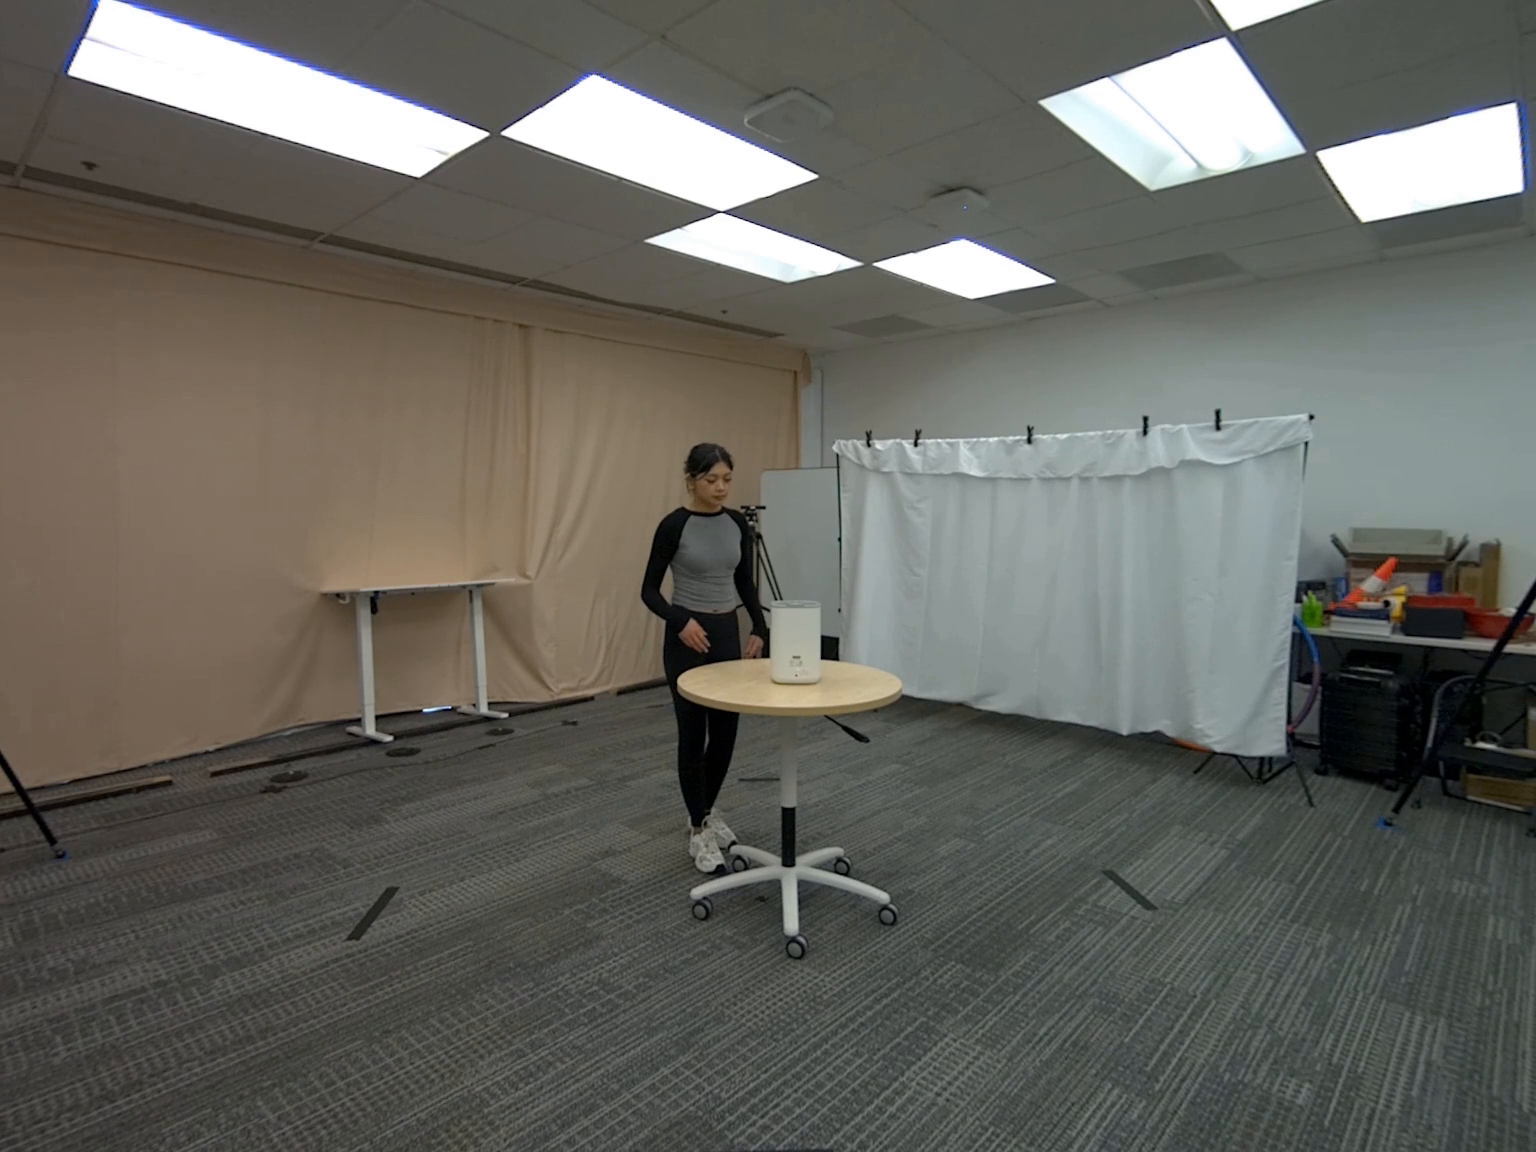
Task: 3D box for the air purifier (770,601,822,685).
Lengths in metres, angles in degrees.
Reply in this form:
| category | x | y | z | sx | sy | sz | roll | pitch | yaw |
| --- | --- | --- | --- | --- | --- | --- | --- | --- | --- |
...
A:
| category | x | y | z | sx | sy | sz | roll | pitch | yaw |
| --- | --- | --- | --- | --- | --- | --- | --- | --- | --- |
| air purifier | 0.100 | 0.226 | 2.879 | 0.171 | 0.265 | 0.172 | 1 | 3 | -3 |
